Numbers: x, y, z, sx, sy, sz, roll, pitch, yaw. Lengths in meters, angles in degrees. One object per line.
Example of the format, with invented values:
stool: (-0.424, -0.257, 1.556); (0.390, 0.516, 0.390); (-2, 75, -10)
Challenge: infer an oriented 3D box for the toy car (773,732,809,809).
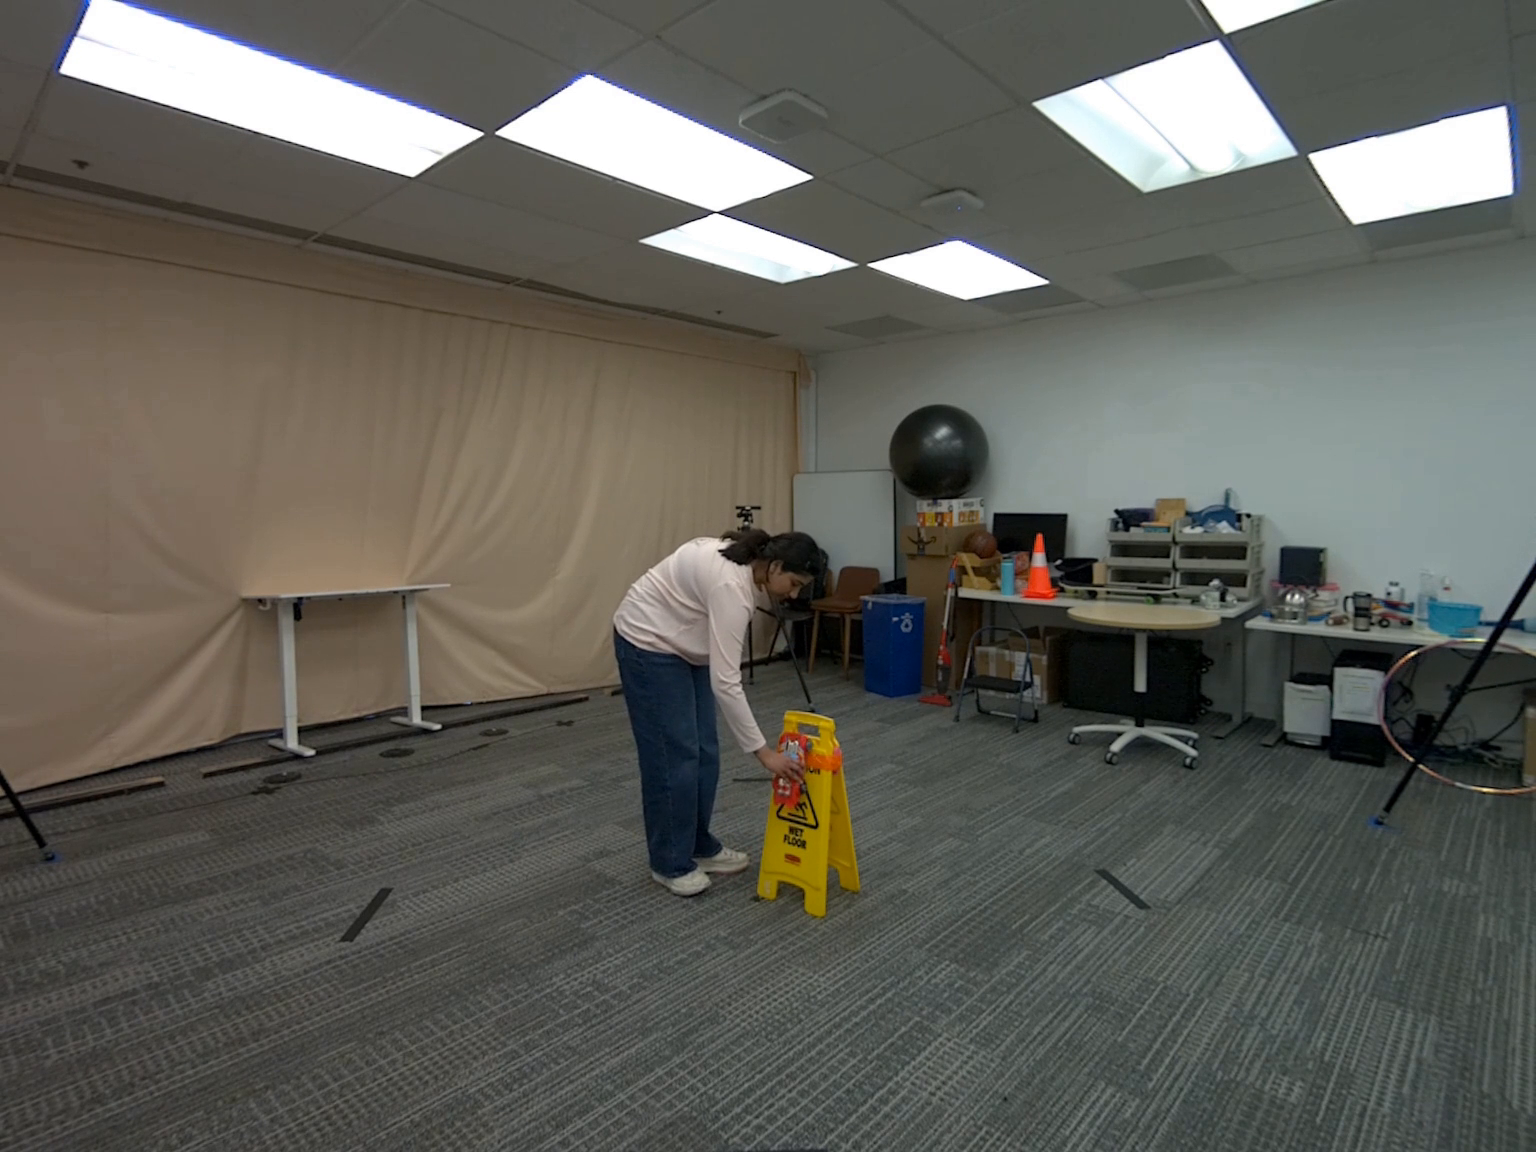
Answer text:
toy car: (0.084, 0.682, 2.960); (0.134, 0.256, 0.080); (5, -20, 33)
